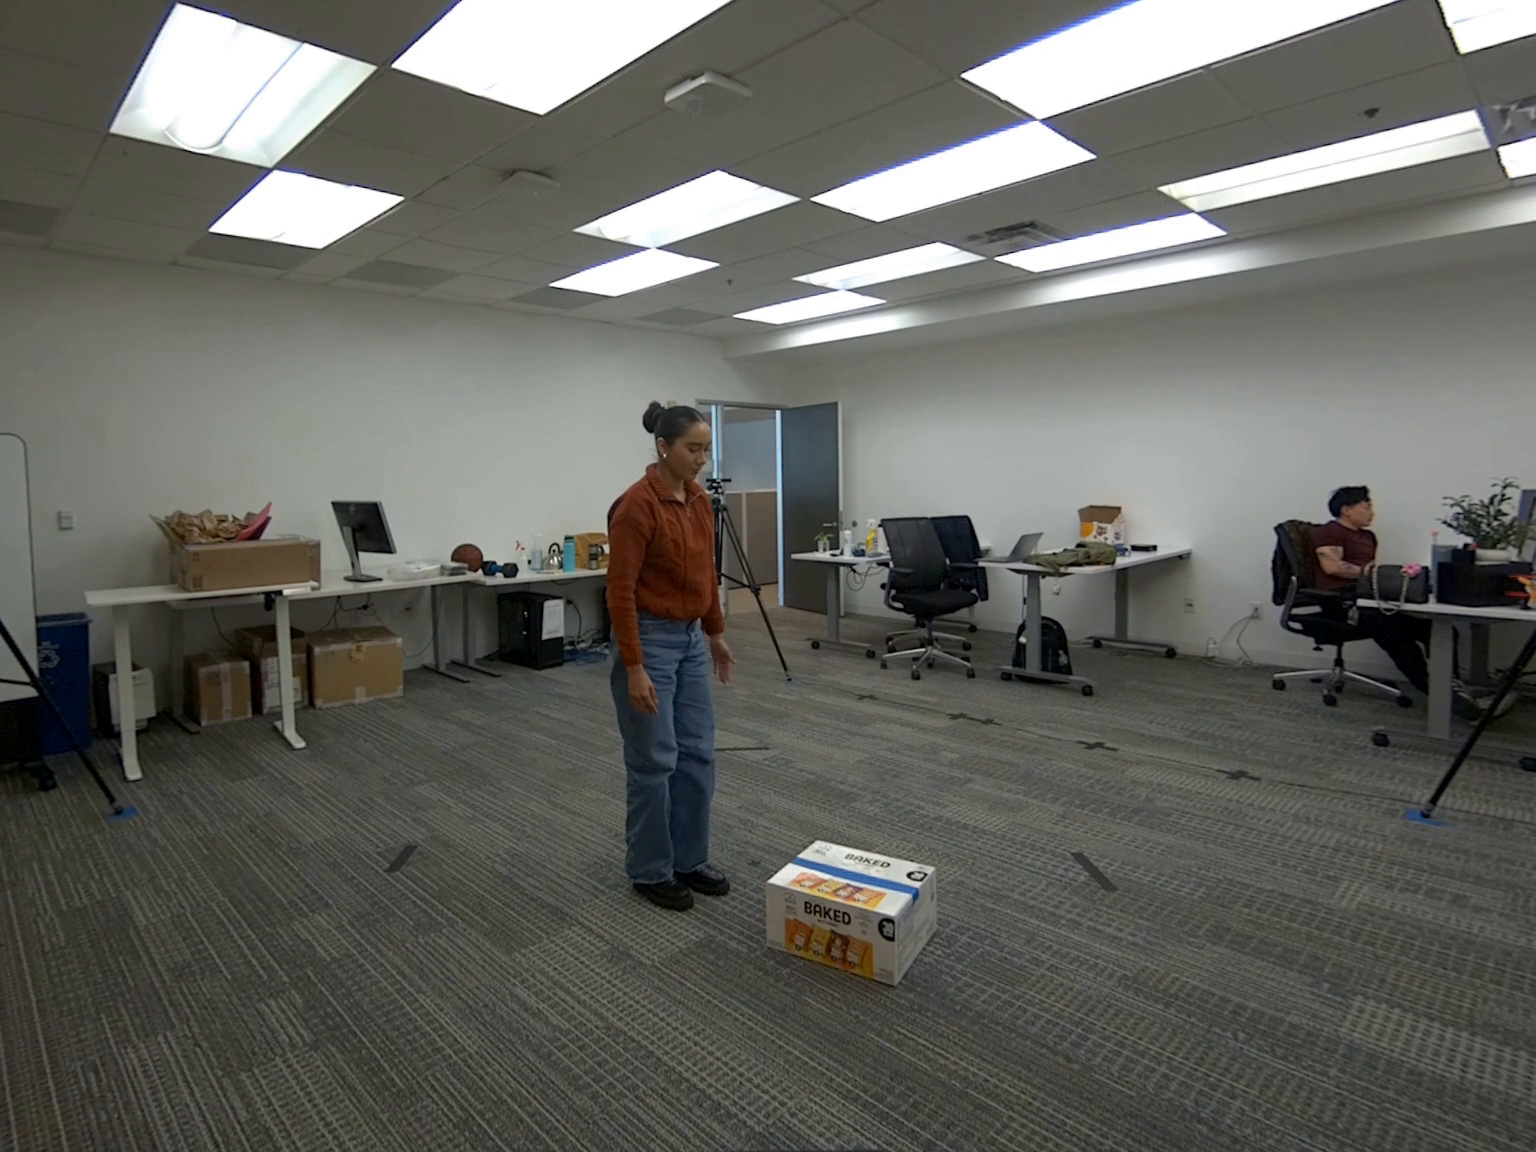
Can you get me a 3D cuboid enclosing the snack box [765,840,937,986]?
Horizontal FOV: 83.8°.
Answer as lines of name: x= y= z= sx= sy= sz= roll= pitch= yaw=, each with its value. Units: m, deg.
snack box: x=0.254 y=0.995 z=2.571 sx=0.416 sy=0.205 sz=0.333 roll=3 pitch=7 yaw=31
